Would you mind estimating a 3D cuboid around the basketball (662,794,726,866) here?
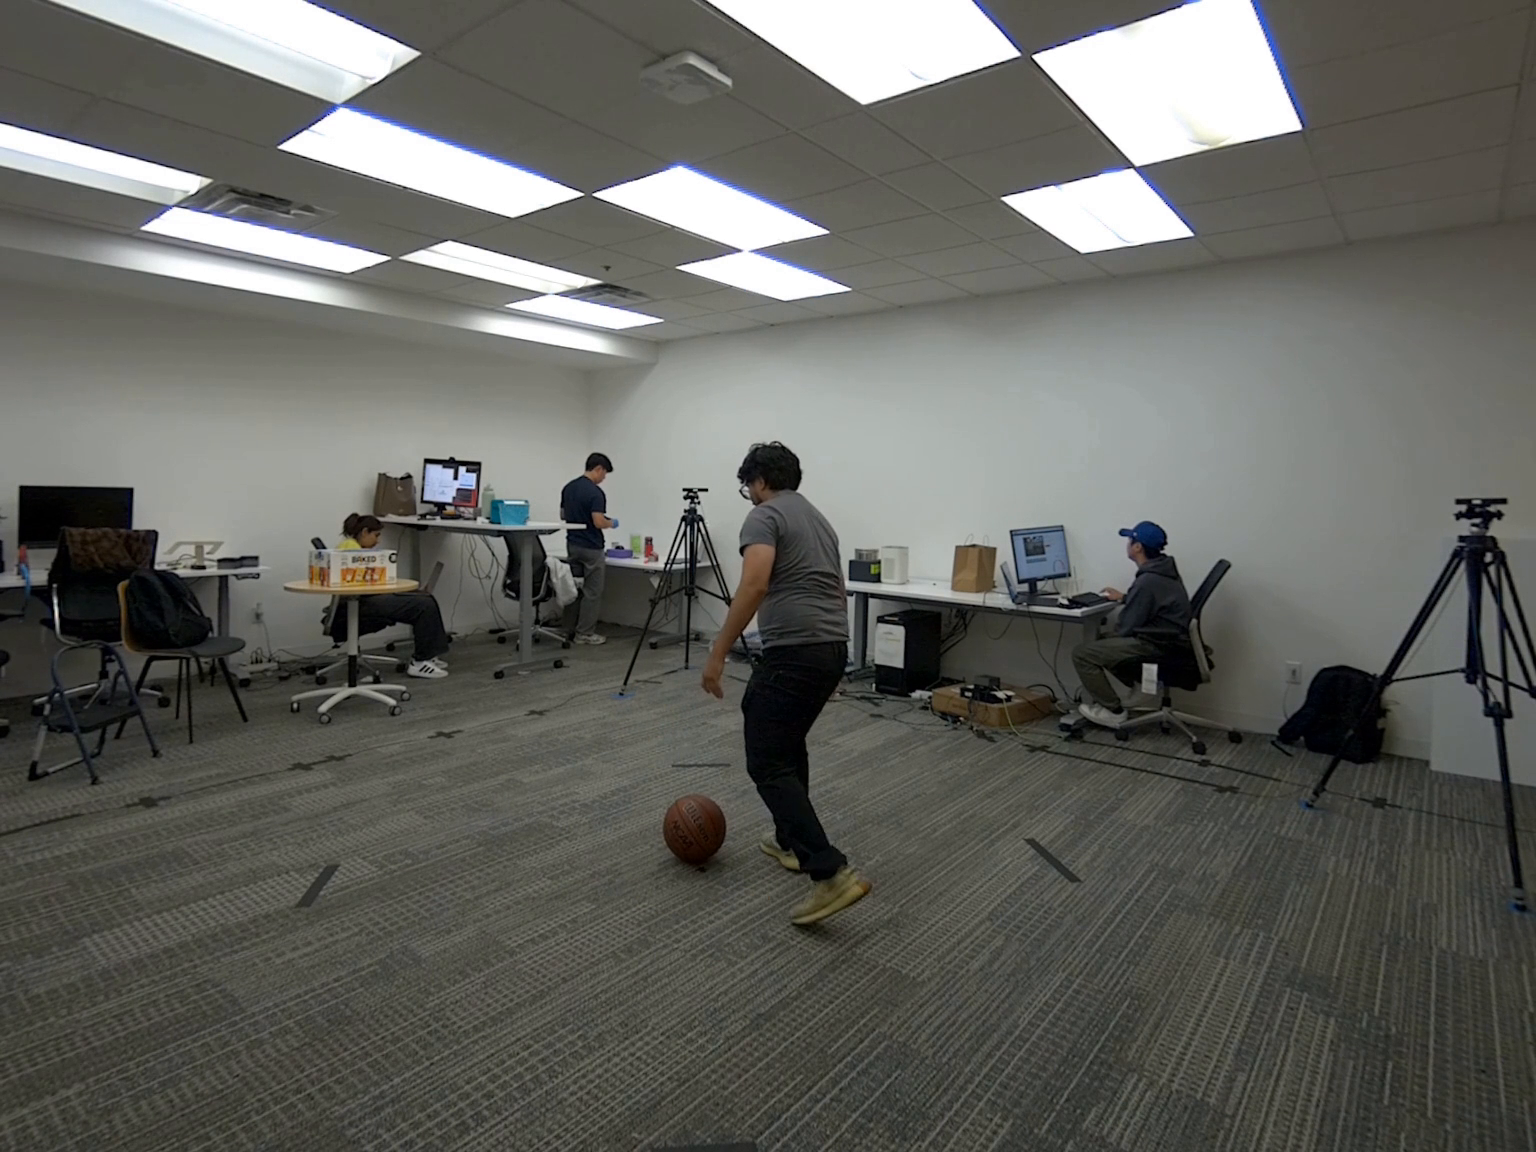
[{"bbox_3d":[-0.281,0.943,3.191,0.235,0.235,0.237,1,4,-2],"label":"basketball"}]
